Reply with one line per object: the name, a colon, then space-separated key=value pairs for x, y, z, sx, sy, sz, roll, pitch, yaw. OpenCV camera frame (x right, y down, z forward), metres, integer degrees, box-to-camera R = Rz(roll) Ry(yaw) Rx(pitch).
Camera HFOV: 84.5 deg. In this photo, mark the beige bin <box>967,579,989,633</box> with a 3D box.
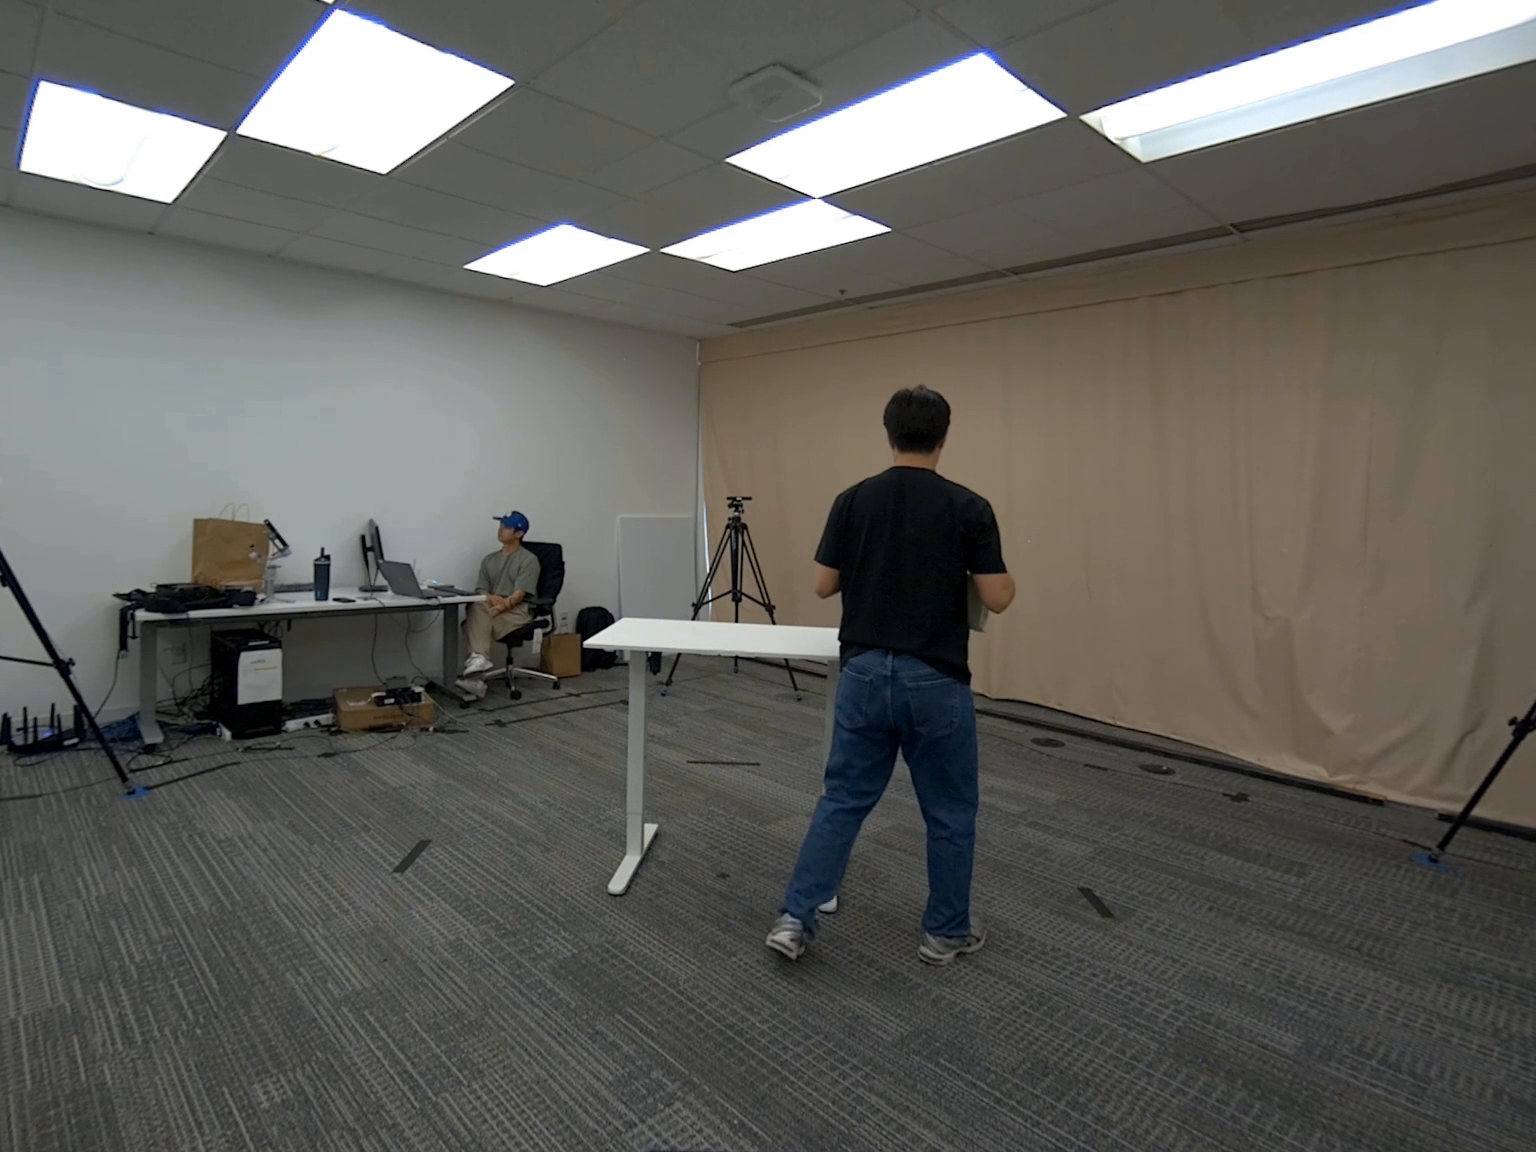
beige bin: x=0.539 y=0.062 z=2.862 sx=0.429 sy=0.188 sz=0.373 roll=9 pitch=7 yaw=17
